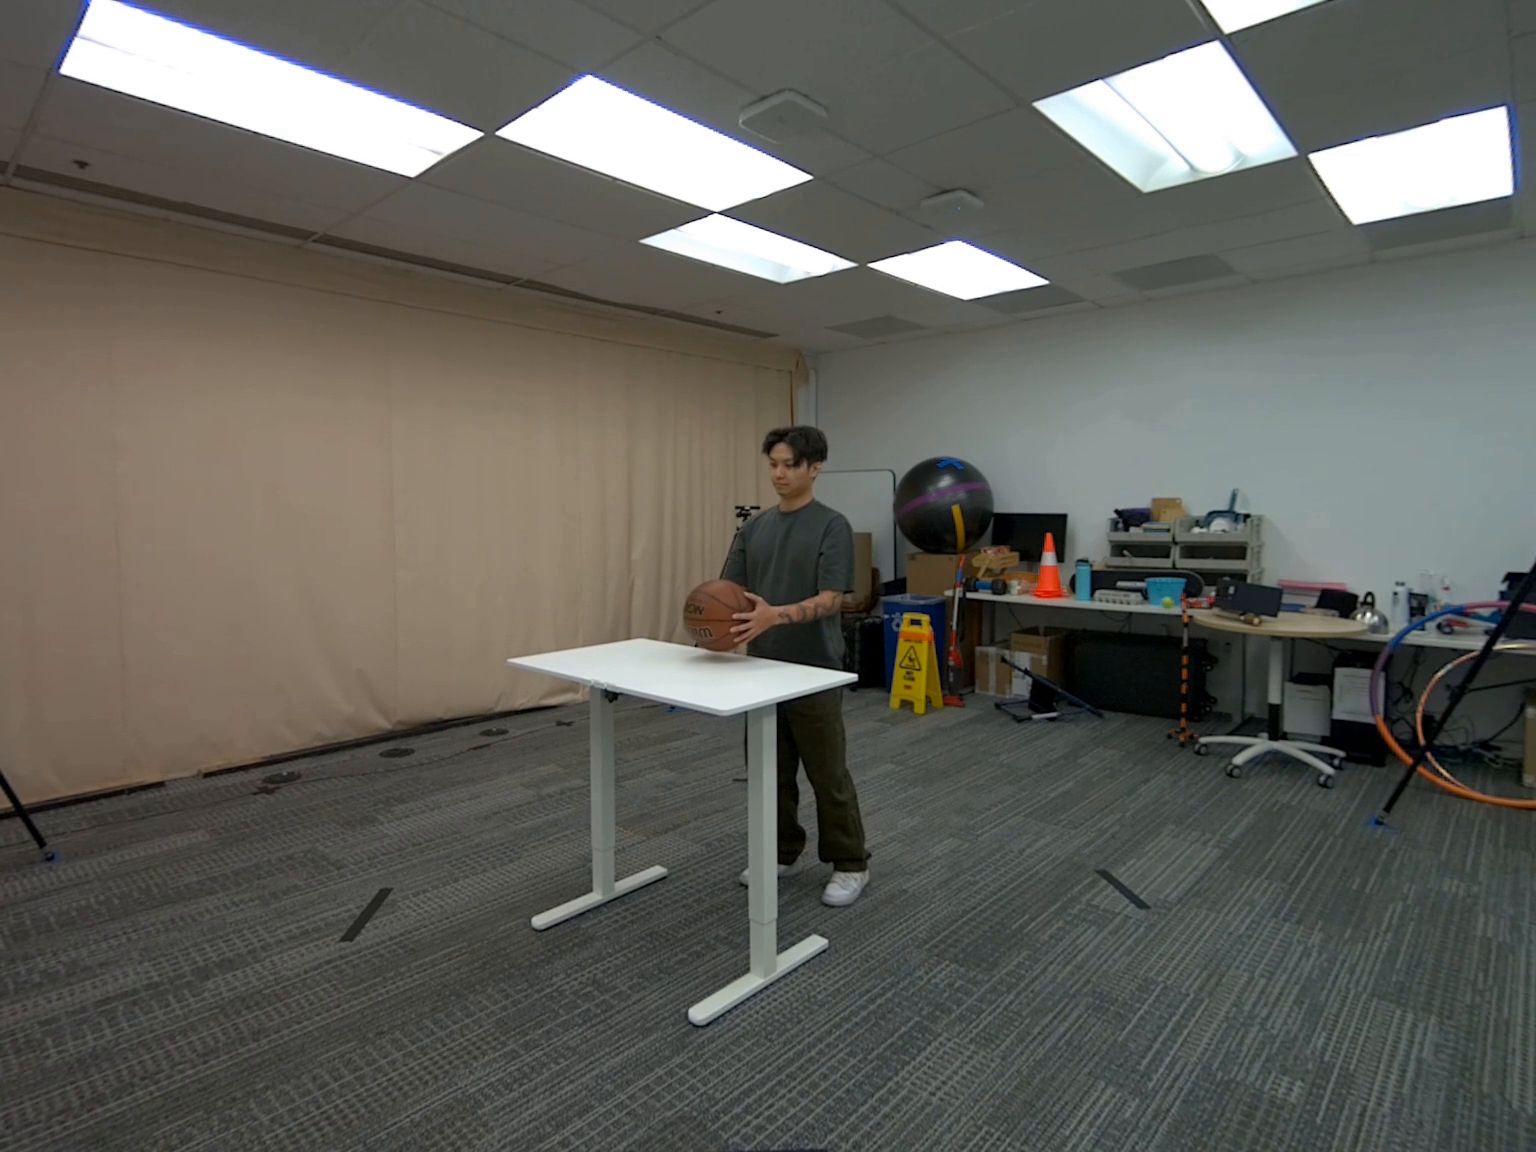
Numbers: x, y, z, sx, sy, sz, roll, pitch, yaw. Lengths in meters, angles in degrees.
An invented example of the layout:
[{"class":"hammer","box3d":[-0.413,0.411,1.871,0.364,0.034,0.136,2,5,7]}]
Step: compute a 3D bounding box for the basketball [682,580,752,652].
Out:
[{"class":"basketball","box3d":[-0.161,0.131,2.782,0.236,0.235,0.237,0,4,-2]}]
